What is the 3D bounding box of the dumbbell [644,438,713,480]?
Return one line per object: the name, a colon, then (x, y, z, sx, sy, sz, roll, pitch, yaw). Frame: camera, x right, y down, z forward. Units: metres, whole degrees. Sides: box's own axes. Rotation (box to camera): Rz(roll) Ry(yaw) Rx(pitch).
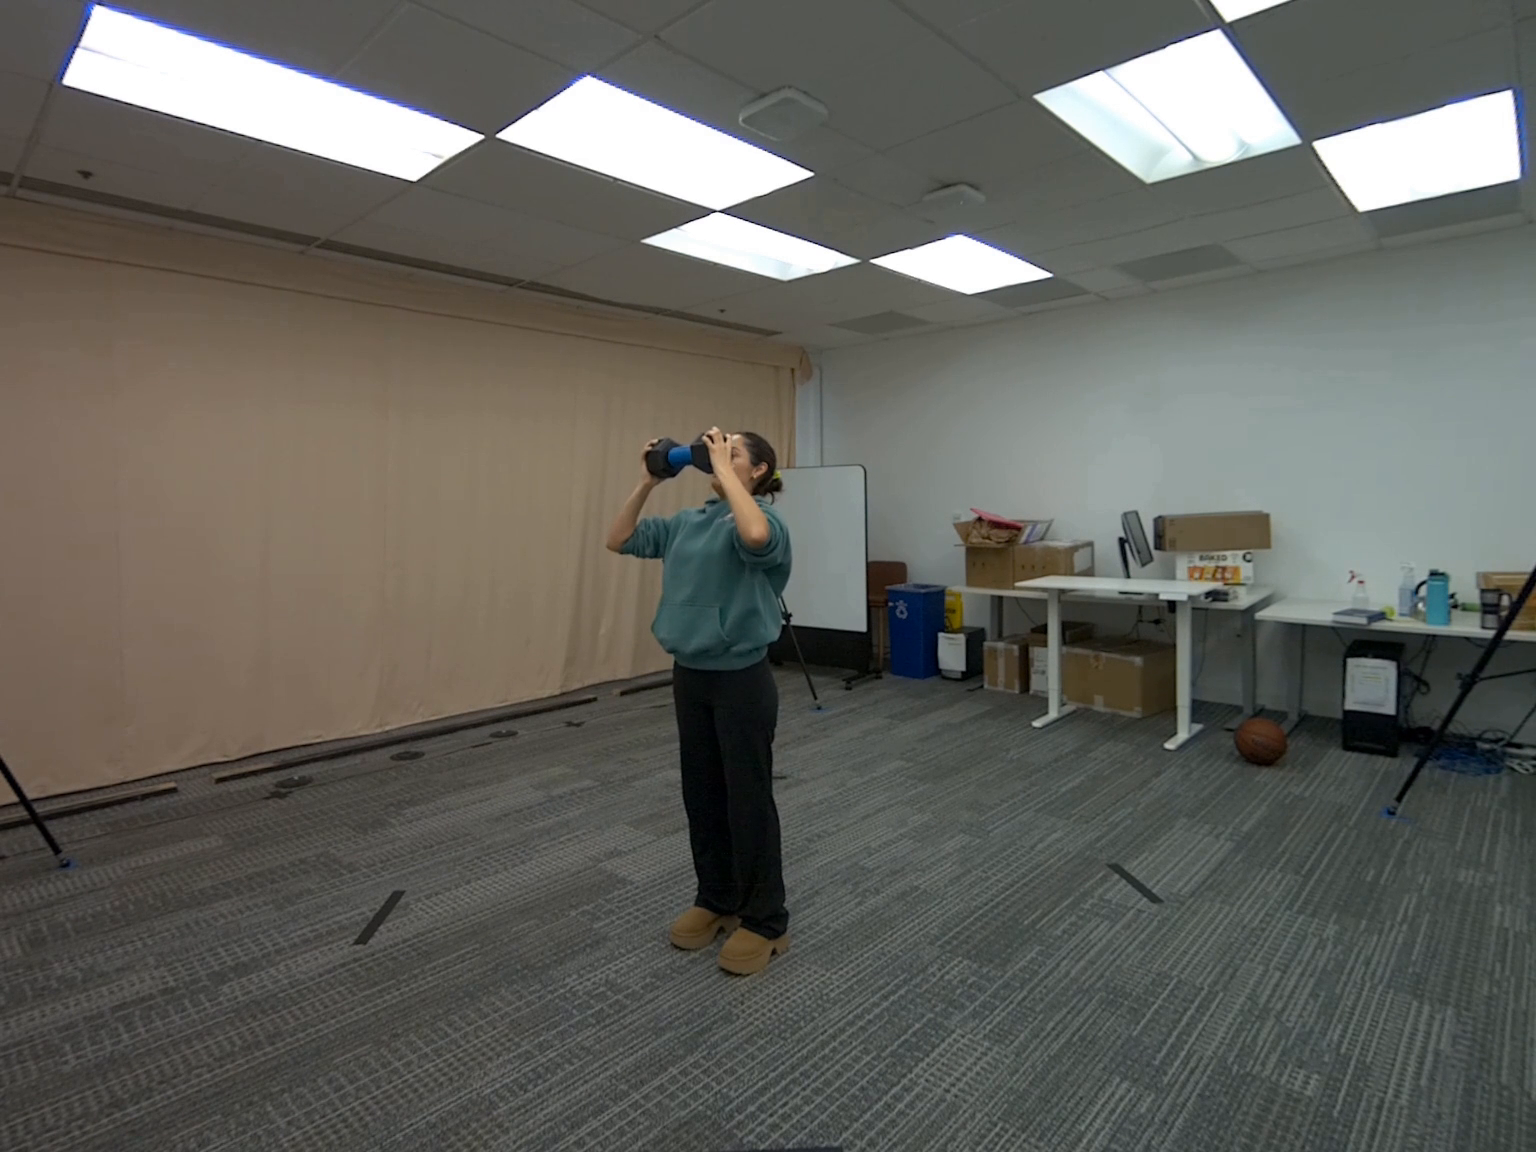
dumbbell: (-0.229, -0.362, 2.516, 0.303, 0.122, 0.106, 1, 13, 44)
